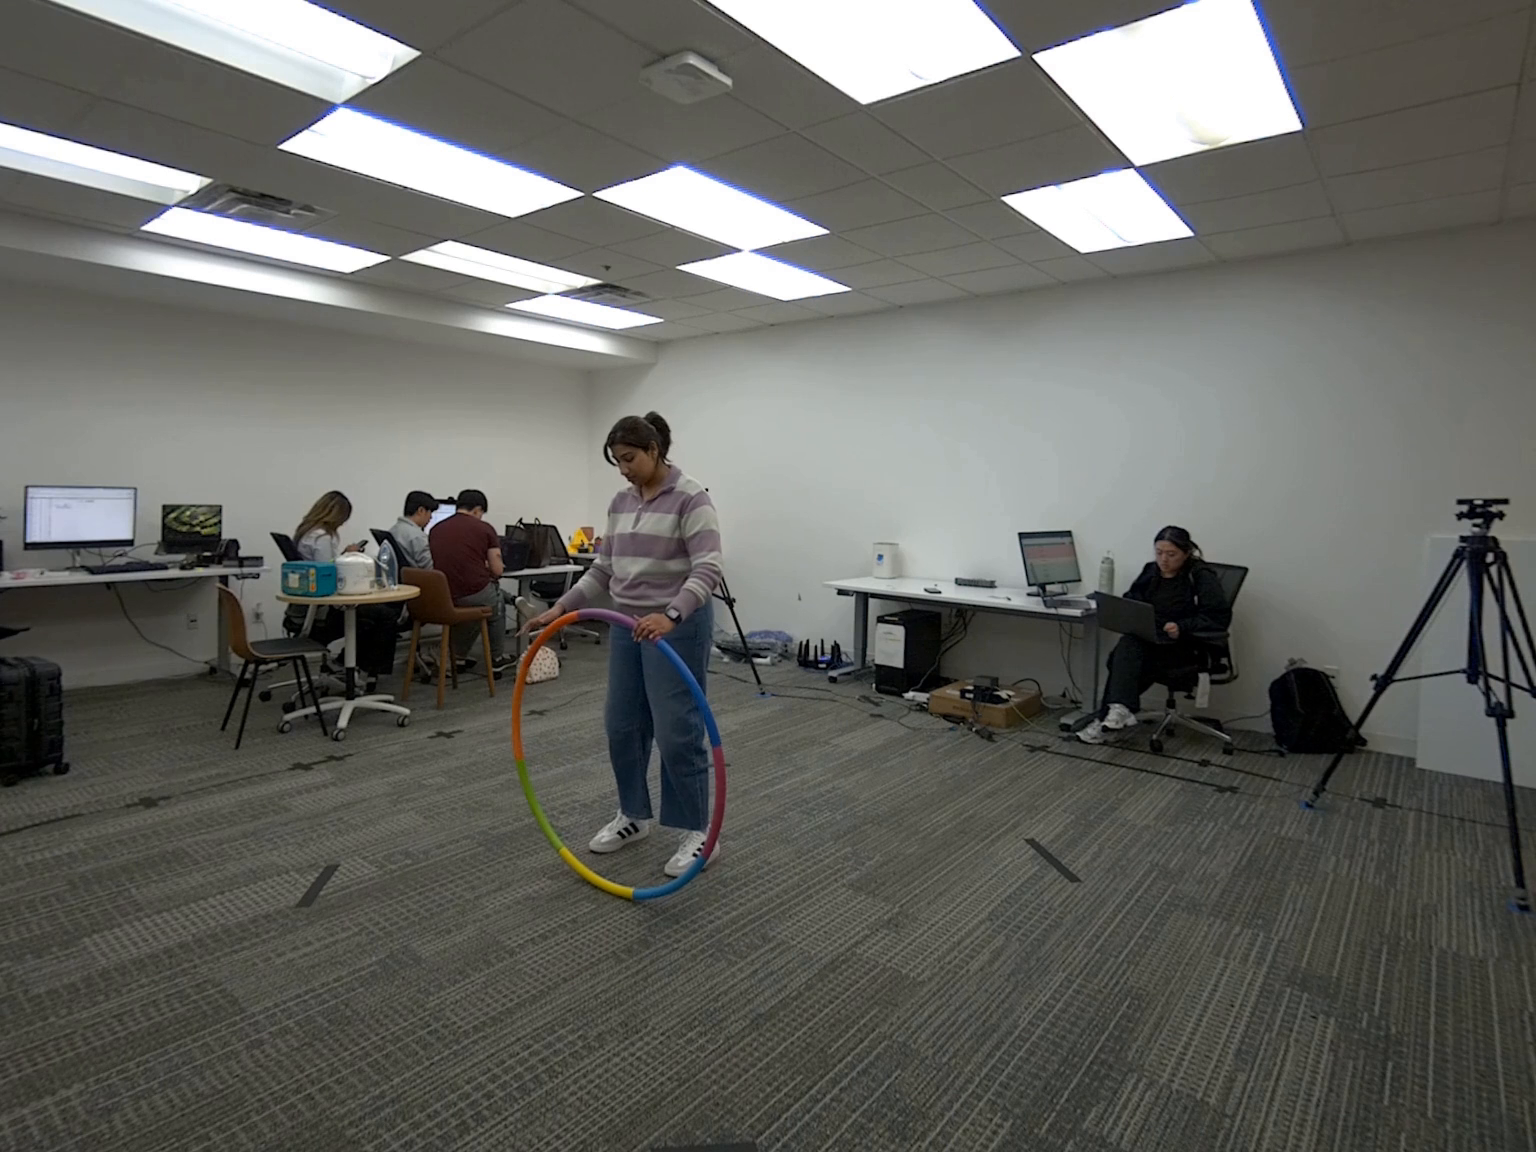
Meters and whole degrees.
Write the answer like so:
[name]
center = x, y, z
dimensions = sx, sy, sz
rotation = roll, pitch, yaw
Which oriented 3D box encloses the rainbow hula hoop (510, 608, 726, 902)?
[rainbow hula hoop]
center = -0.549, 0.597, 2.888
dimensions = 1.017, 0.981, 0.050
rotation = 4, 5, 36
